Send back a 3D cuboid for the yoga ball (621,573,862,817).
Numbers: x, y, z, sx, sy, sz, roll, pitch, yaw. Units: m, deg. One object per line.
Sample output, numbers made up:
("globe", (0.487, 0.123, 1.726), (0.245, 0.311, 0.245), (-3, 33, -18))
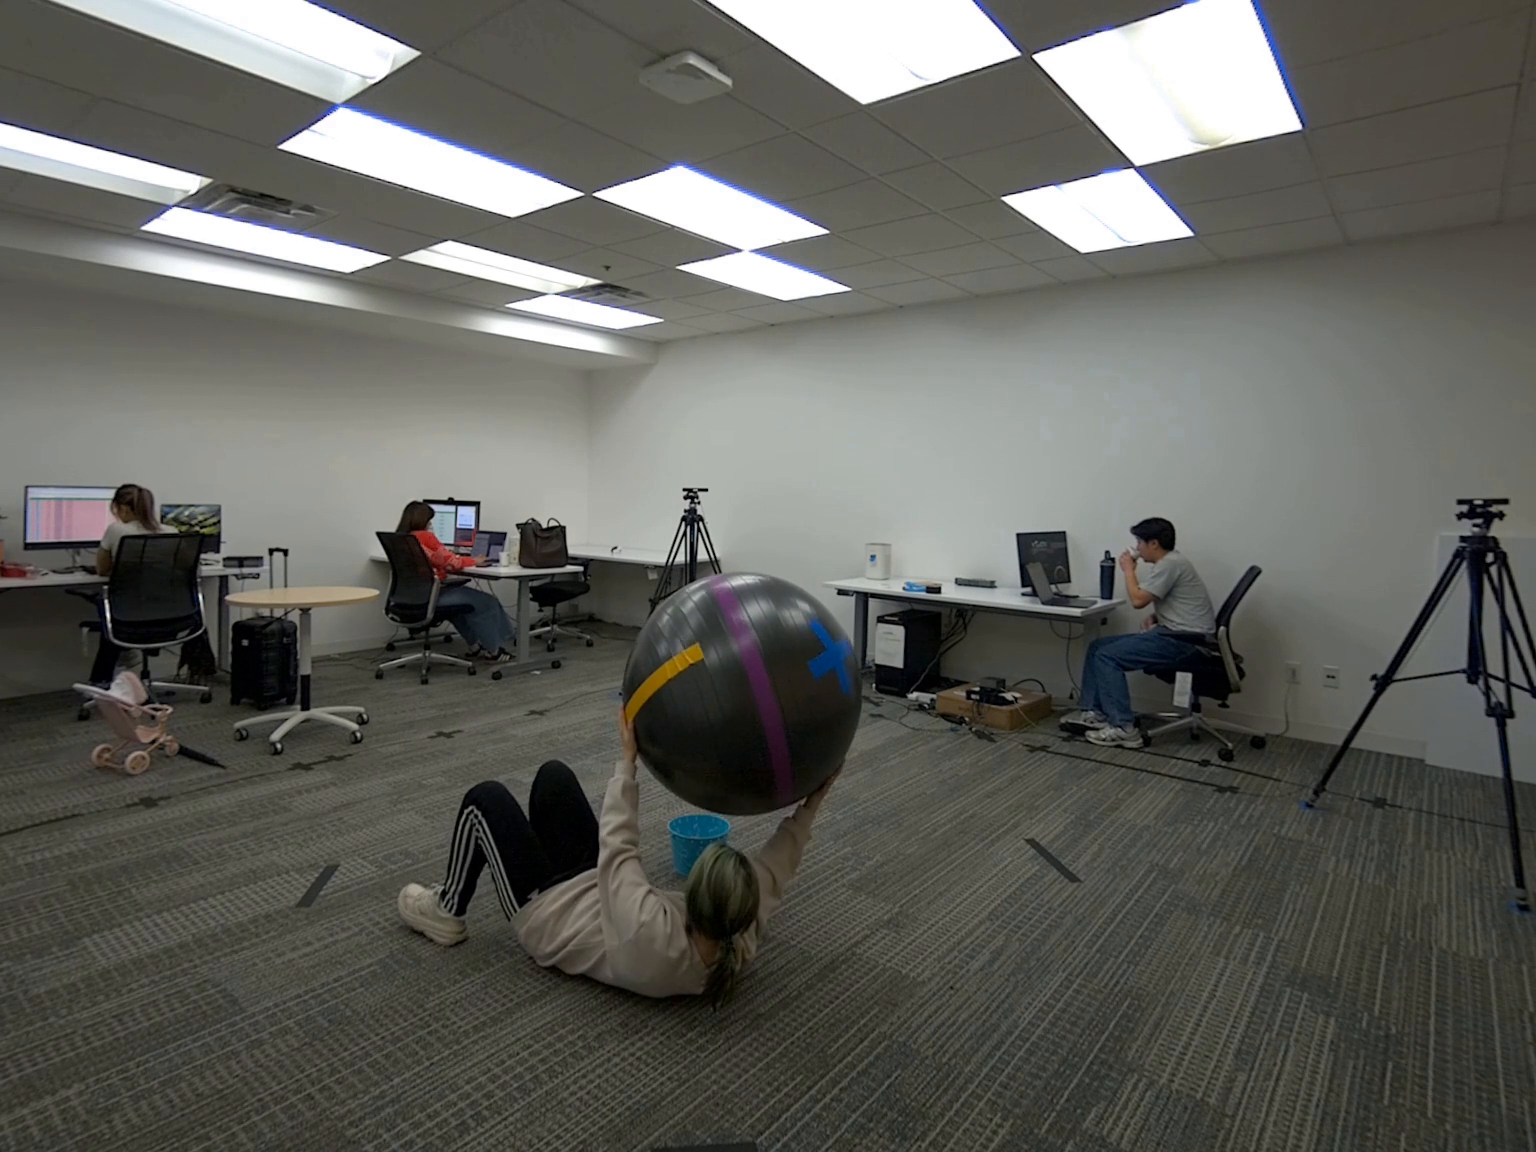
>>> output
("yoga ball", (-0.093, 0.376, 2.708), (0.757, 0.755, 0.762), (1, 4, -2))
